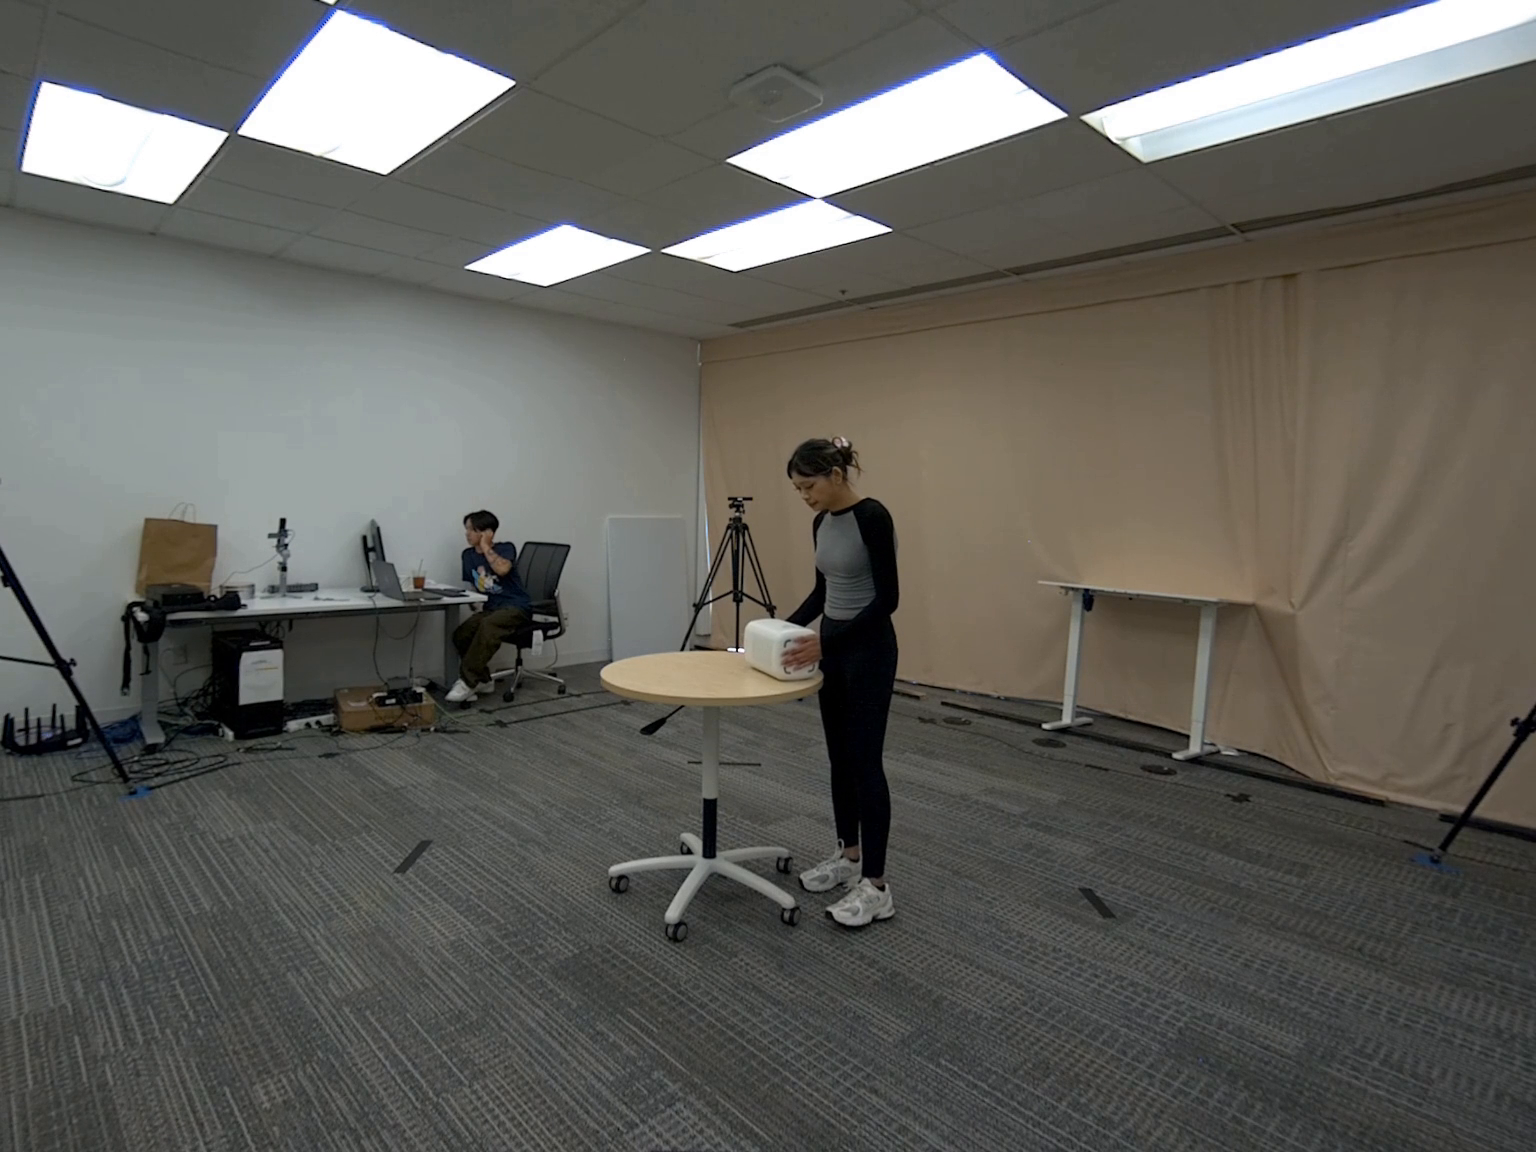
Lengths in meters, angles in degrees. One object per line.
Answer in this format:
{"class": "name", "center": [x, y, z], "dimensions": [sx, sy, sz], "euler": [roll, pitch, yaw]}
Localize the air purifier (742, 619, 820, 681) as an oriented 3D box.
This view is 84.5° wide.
{"class": "air purifier", "center": [0.040, 0.250, 2.877], "dimensions": [0.168, 0.171, 0.271], "euler": [-1, 5, -25]}
